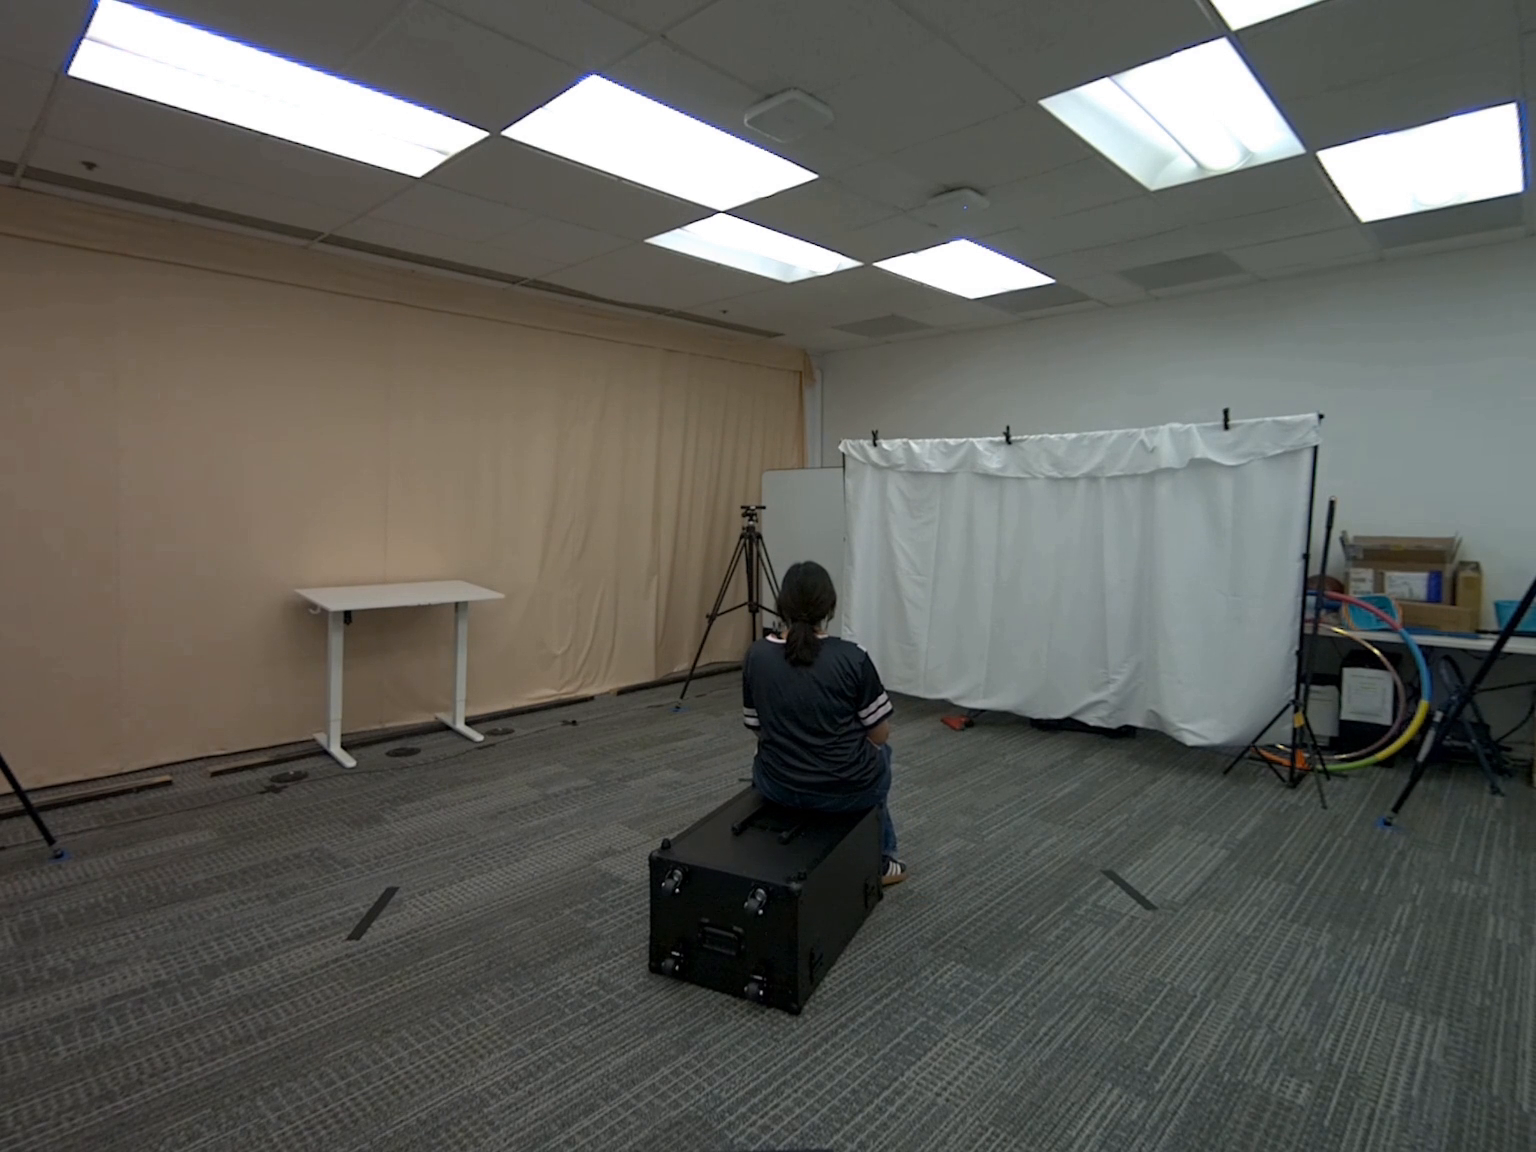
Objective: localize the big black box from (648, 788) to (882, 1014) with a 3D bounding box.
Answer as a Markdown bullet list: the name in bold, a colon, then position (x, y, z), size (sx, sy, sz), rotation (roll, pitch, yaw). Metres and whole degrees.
- **big black box**: position (0.016, 0.984, 2.699), size (0.537, 0.384, 0.848), rotation (3, 6, 25)
